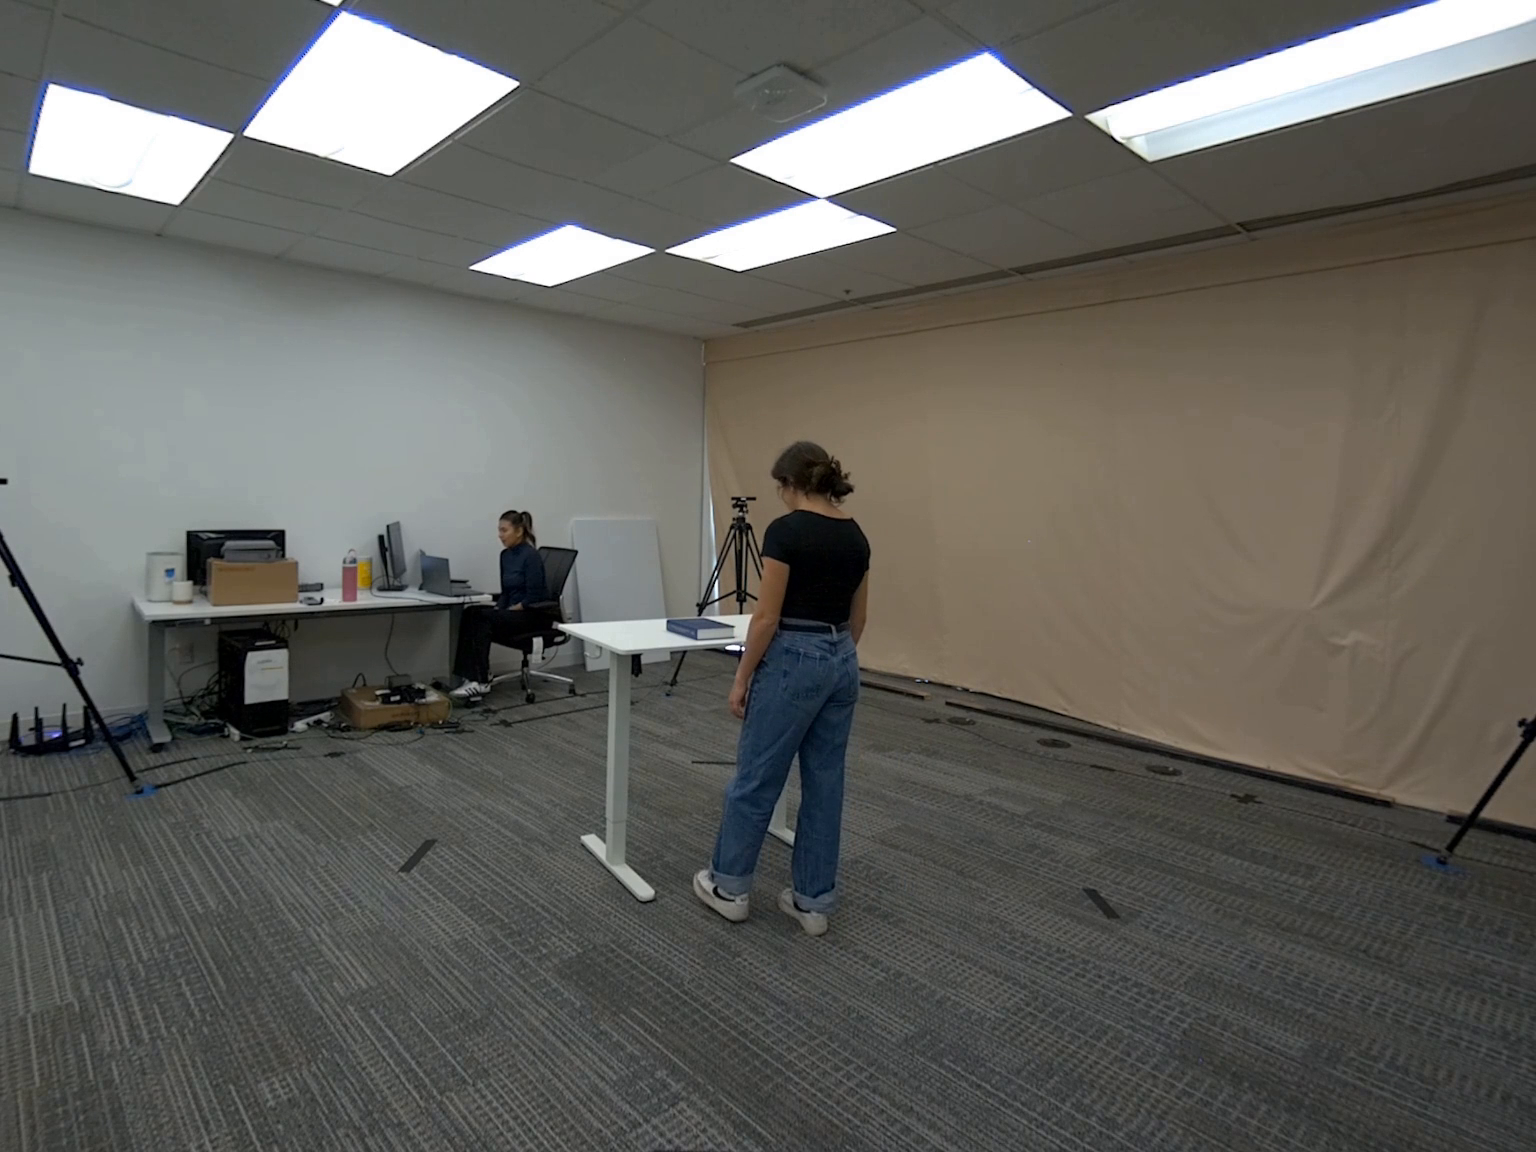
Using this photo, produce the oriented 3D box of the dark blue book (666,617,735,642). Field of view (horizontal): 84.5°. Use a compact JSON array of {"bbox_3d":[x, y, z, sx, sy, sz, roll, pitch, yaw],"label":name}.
[{"bbox_3d":[-0.260,0.199,3.137,0.160,0.045,0.251,-2,6,-33],"label":"dark blue book"}]
